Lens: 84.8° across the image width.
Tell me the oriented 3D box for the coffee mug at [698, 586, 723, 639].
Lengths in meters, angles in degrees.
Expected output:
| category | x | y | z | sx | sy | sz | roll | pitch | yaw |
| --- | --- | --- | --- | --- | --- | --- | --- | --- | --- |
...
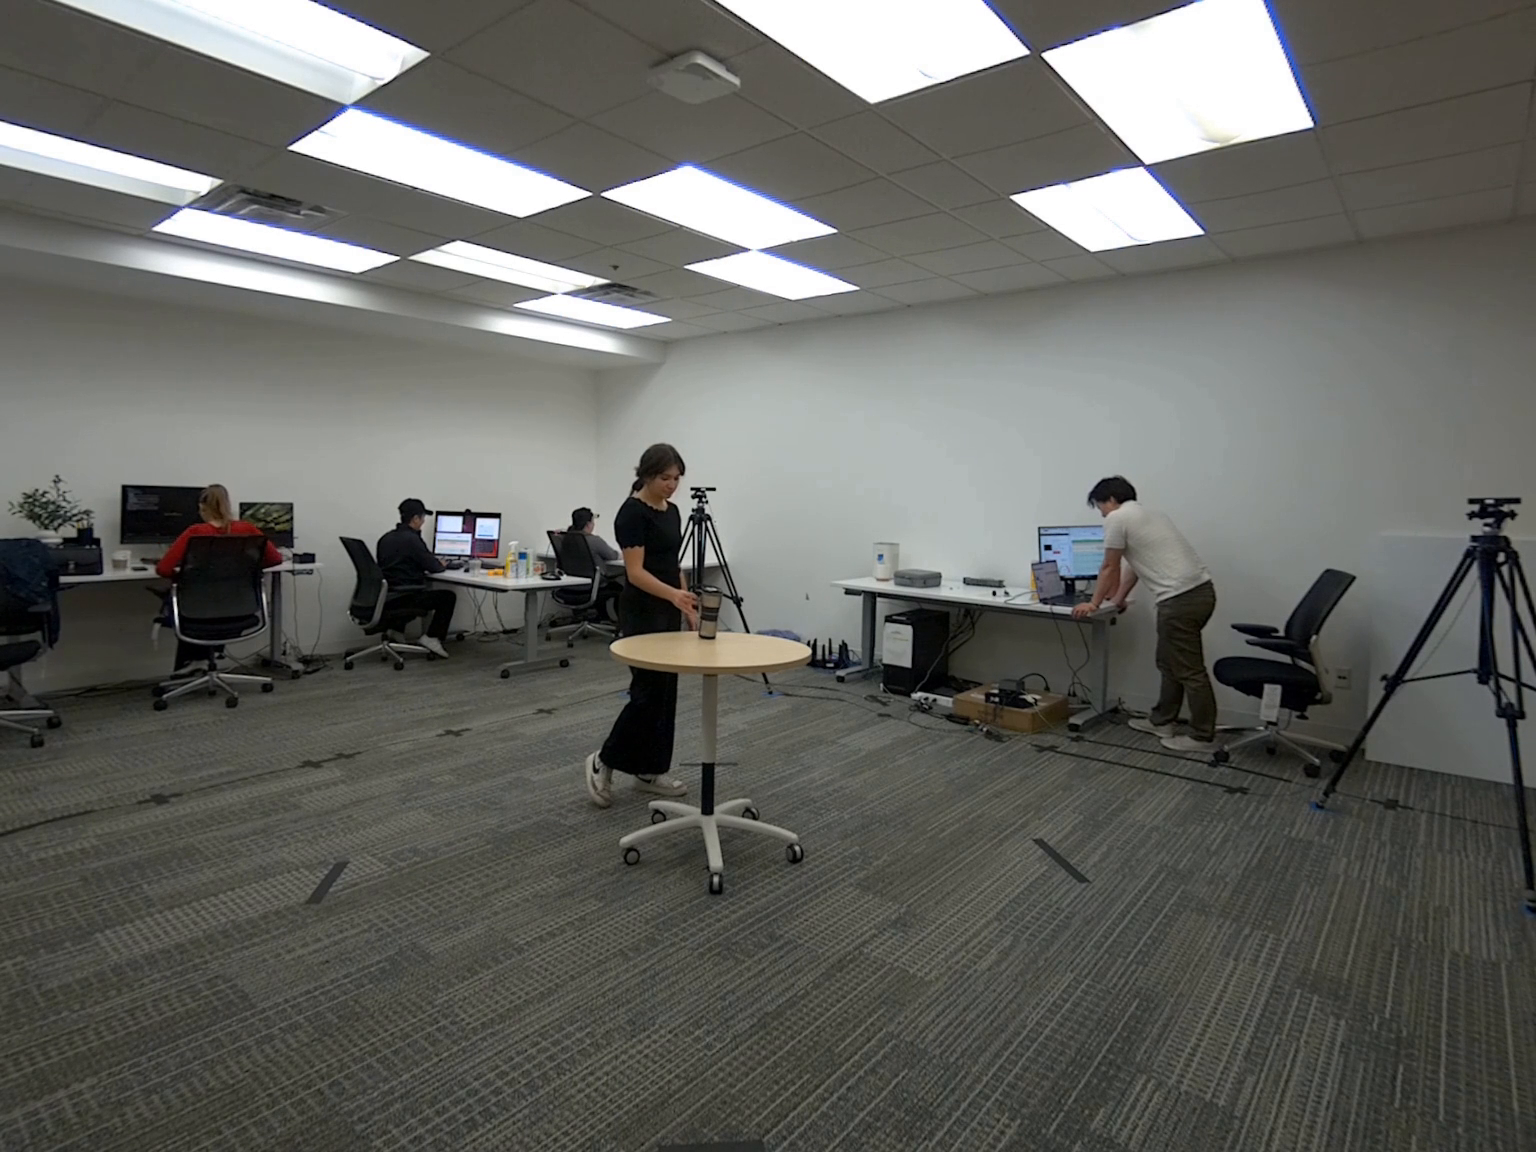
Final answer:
| category | x | y | z | sx | sy | sz | roll | pitch | yaw |
| --- | --- | --- | --- | --- | --- | --- | --- | --- | --- |
| coffee mug | -0.264 | 0.143 | 3.458 | 0.085 | 0.201 | 0.127 | -4 | 14 | -41 |
